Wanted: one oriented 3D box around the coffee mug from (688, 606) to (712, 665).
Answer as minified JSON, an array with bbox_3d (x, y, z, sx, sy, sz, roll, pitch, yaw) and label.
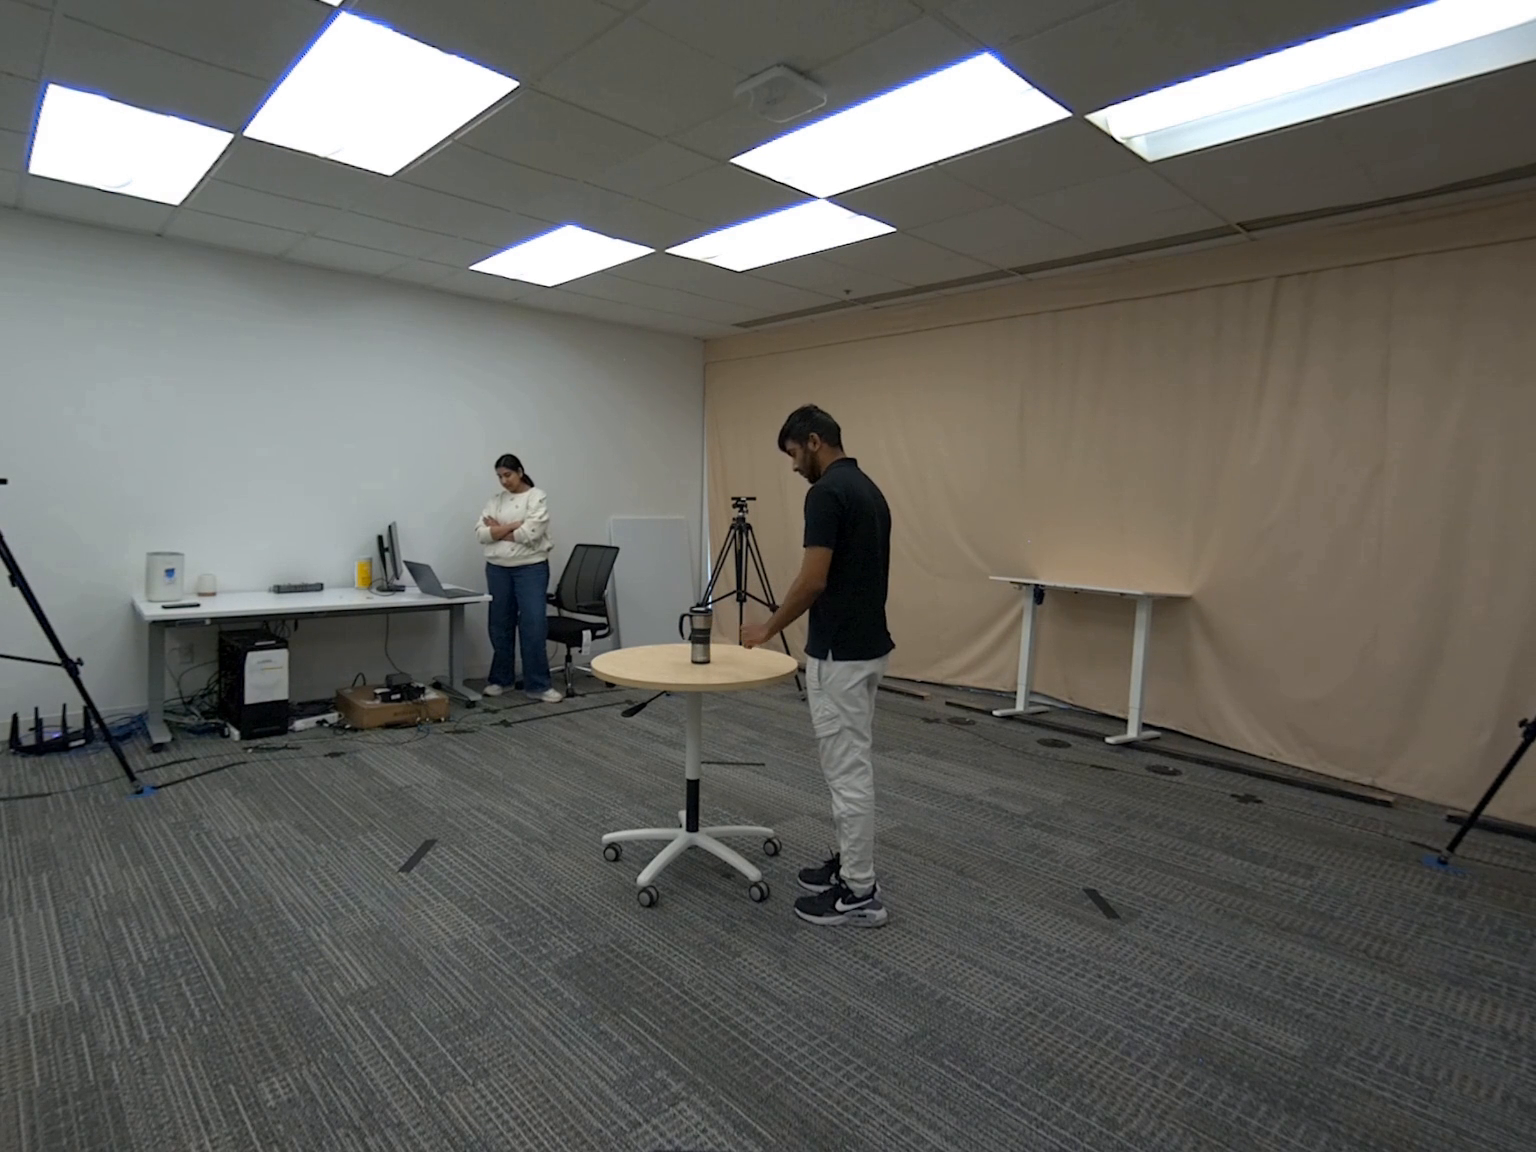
[{"bbox_3d":[-0.269,0.220,3.110,0.123,0.202,0.088,5,6,7],"label":"coffee mug"}]
